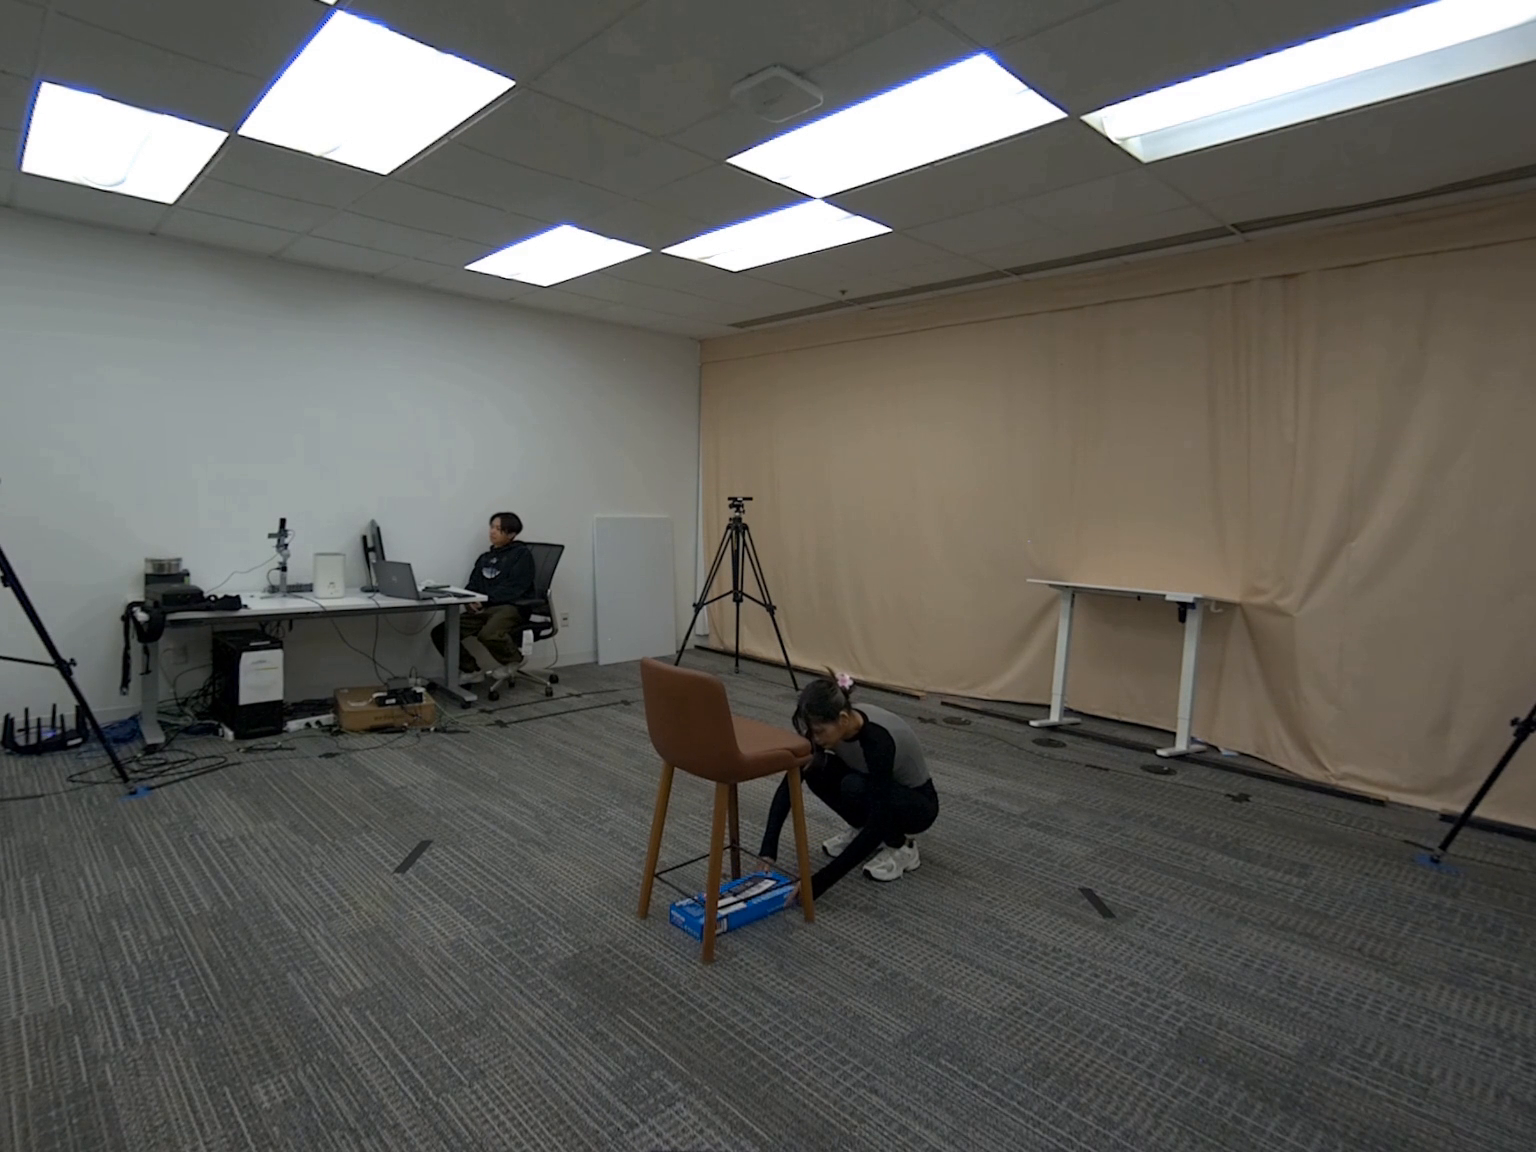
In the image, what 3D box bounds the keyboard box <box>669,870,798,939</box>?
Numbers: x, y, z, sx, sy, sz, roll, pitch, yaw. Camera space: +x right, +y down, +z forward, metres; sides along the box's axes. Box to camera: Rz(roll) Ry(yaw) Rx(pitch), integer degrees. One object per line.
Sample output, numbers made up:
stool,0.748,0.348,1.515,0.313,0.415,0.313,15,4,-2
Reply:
keyboard box,-0.111,1.106,2.828,0.427,0.059,0.180,-4,7,-41
